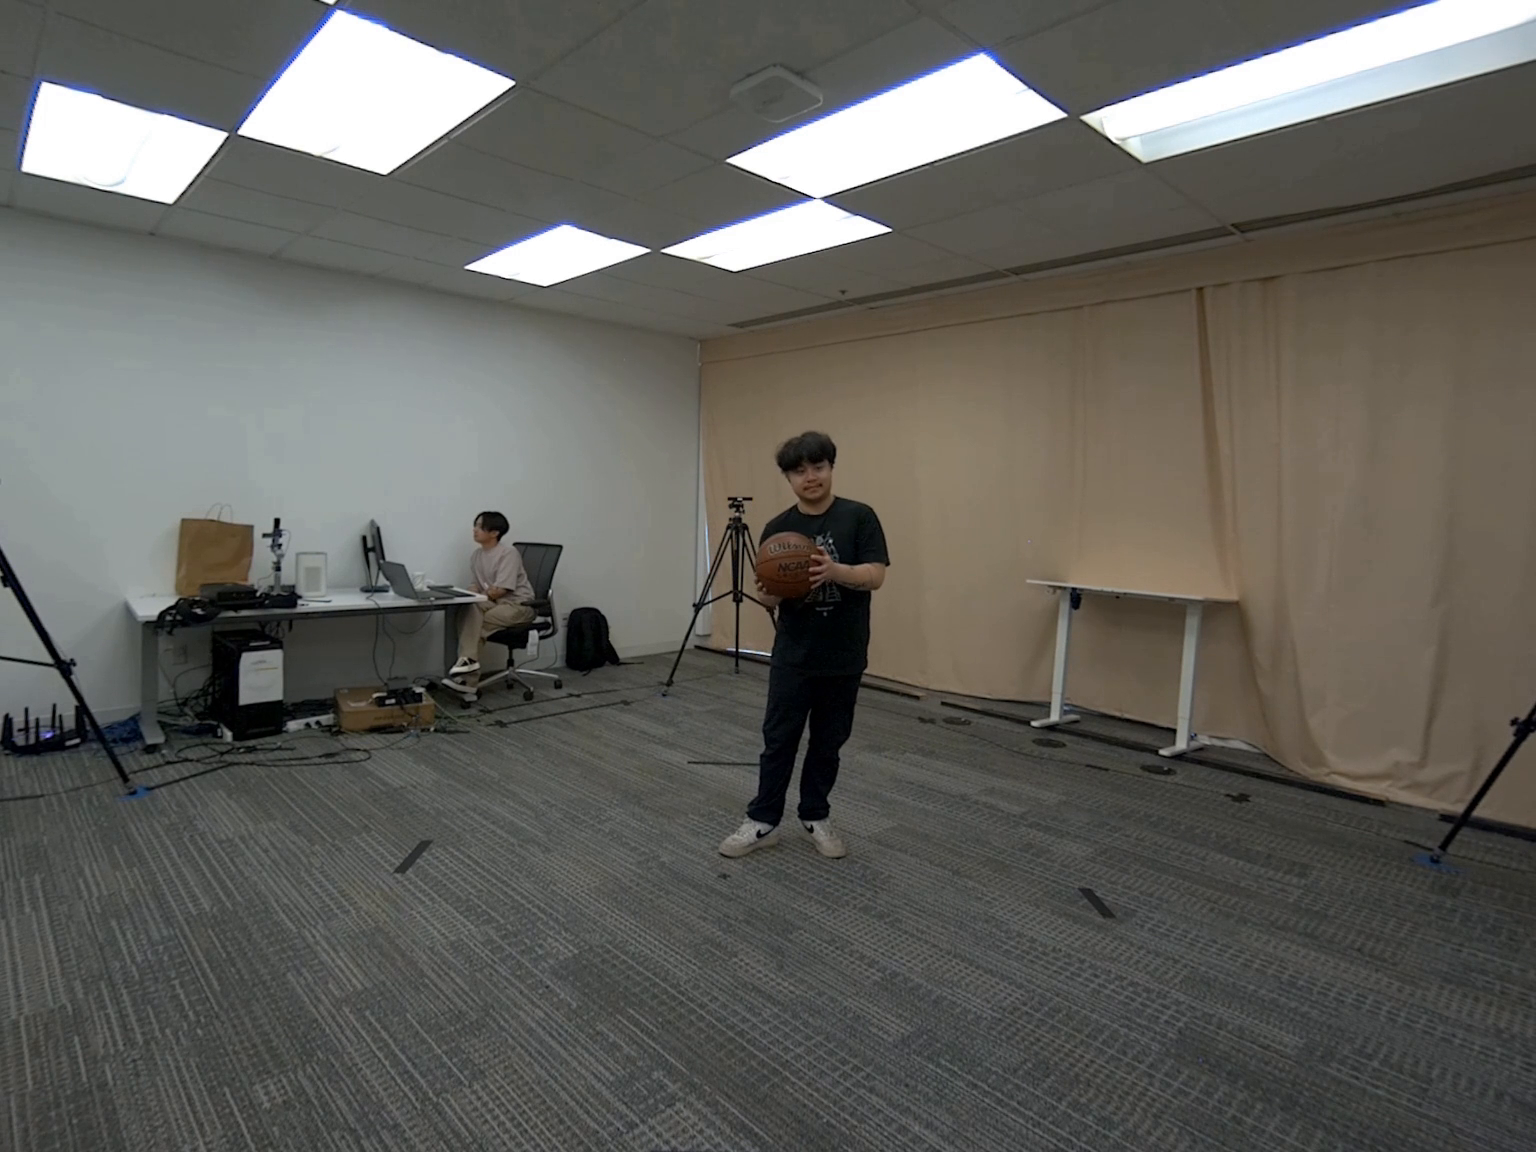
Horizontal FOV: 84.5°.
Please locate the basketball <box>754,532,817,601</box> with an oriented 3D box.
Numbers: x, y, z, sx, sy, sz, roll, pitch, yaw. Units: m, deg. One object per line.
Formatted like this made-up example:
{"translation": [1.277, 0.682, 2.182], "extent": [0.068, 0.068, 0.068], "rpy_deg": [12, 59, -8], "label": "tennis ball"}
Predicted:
{"translation": [0.056, -0.040, 3.002], "extent": [0.236, 0.235, 0.237], "rpy_deg": [1, 4, -1], "label": "basketball"}
